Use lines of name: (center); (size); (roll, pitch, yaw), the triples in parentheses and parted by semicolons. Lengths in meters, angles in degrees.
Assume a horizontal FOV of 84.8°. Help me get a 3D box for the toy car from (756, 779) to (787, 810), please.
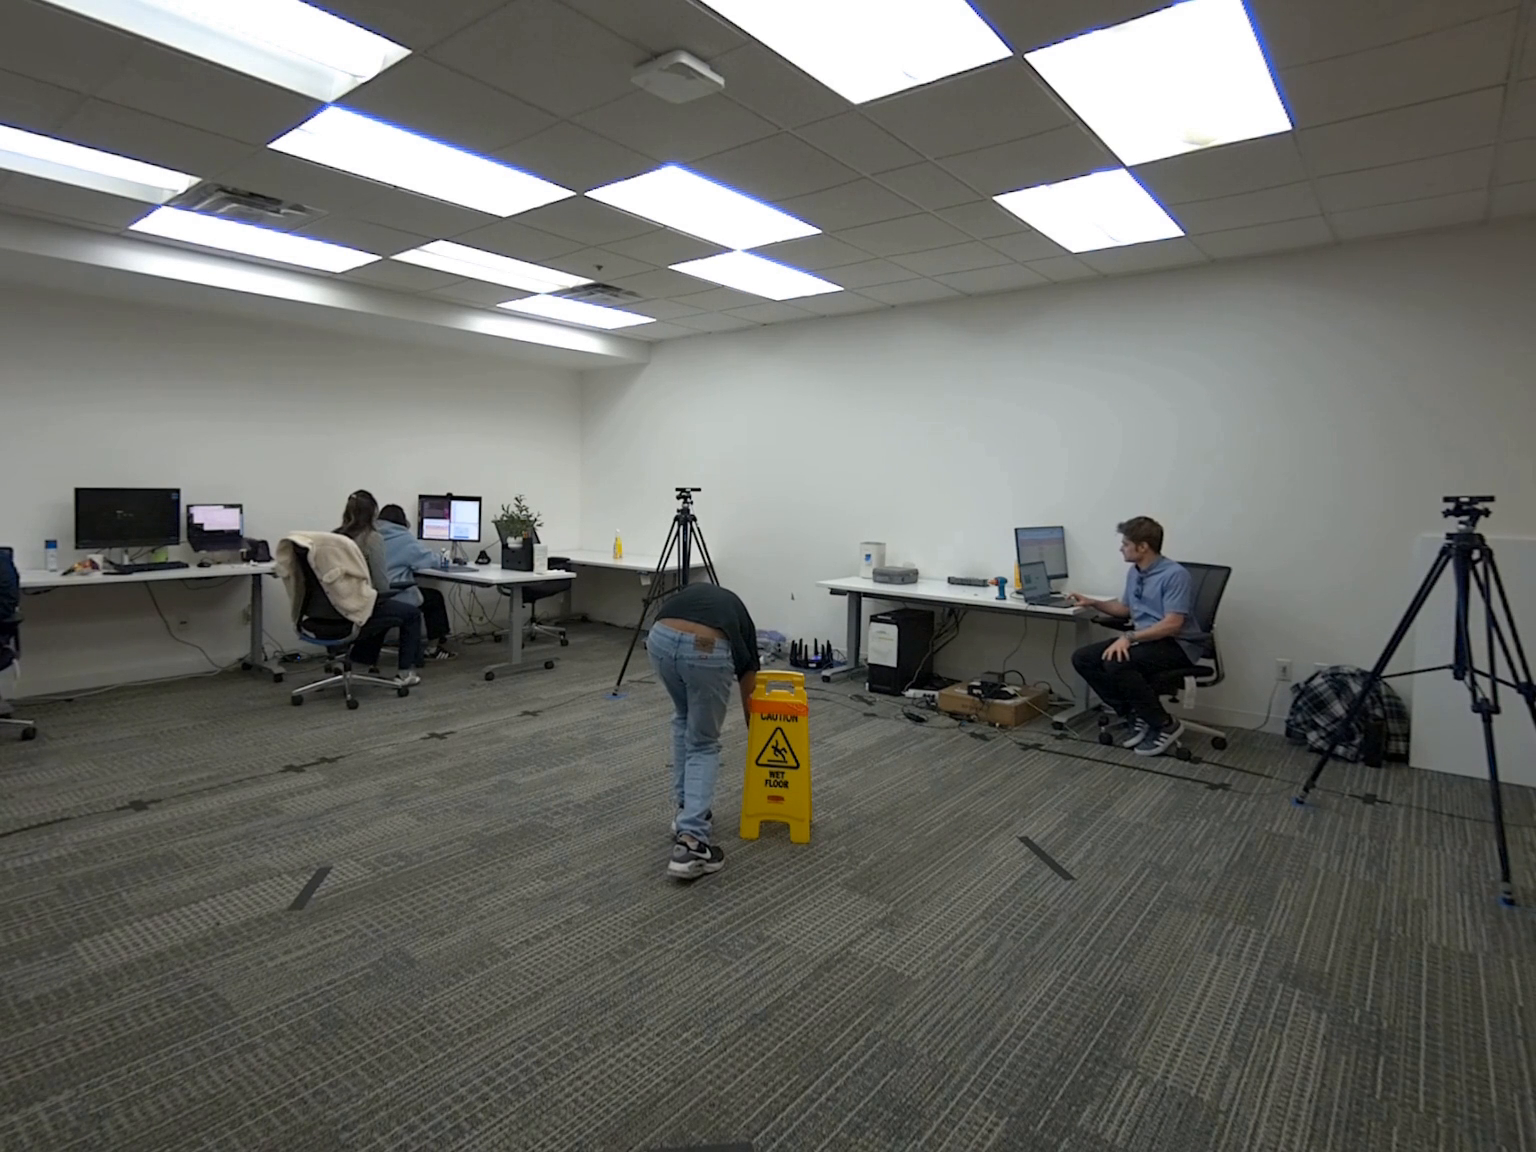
toy car: (0.013, 0.973, 3.765); (0.130, 0.084, 0.252); (1, -5, 0)
